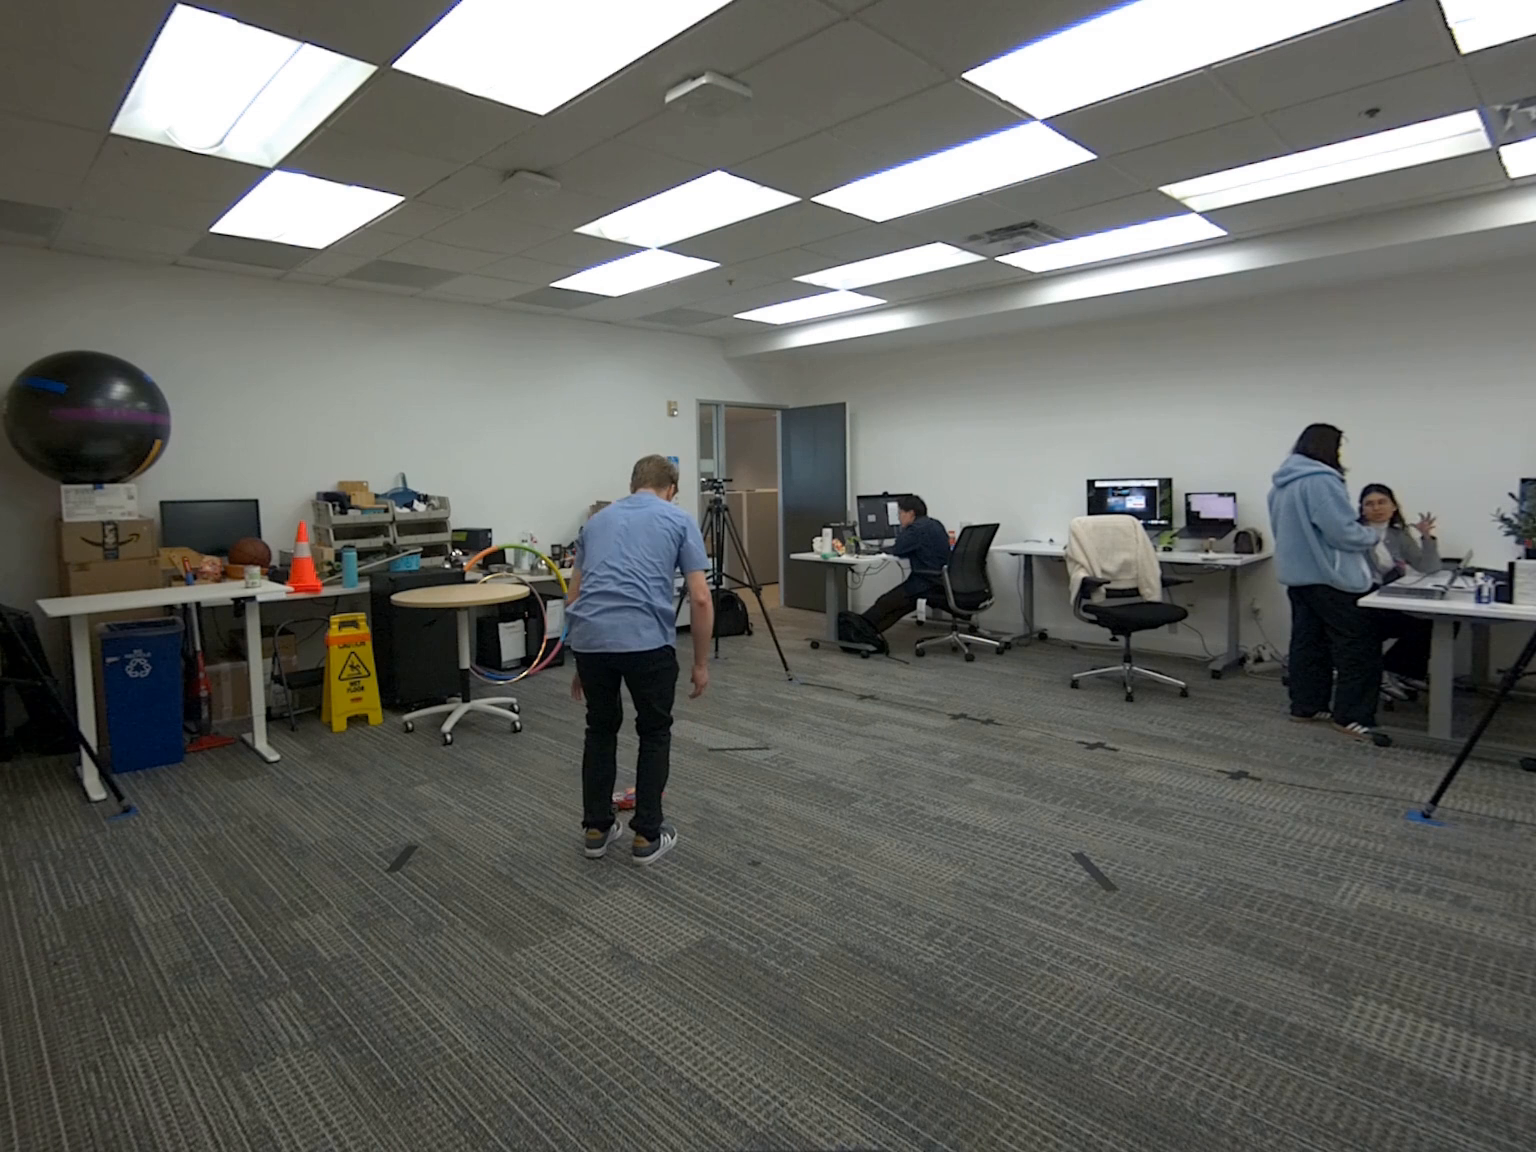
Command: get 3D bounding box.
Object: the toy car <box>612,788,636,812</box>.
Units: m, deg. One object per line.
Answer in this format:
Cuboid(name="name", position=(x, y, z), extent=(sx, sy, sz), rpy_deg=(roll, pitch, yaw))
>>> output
Cuboid(name="toy car", position=(-0.564, 0.957, 3.679), extent=(0.253, 0.082, 0.132), rpy_deg=(-13, 8, -9))
